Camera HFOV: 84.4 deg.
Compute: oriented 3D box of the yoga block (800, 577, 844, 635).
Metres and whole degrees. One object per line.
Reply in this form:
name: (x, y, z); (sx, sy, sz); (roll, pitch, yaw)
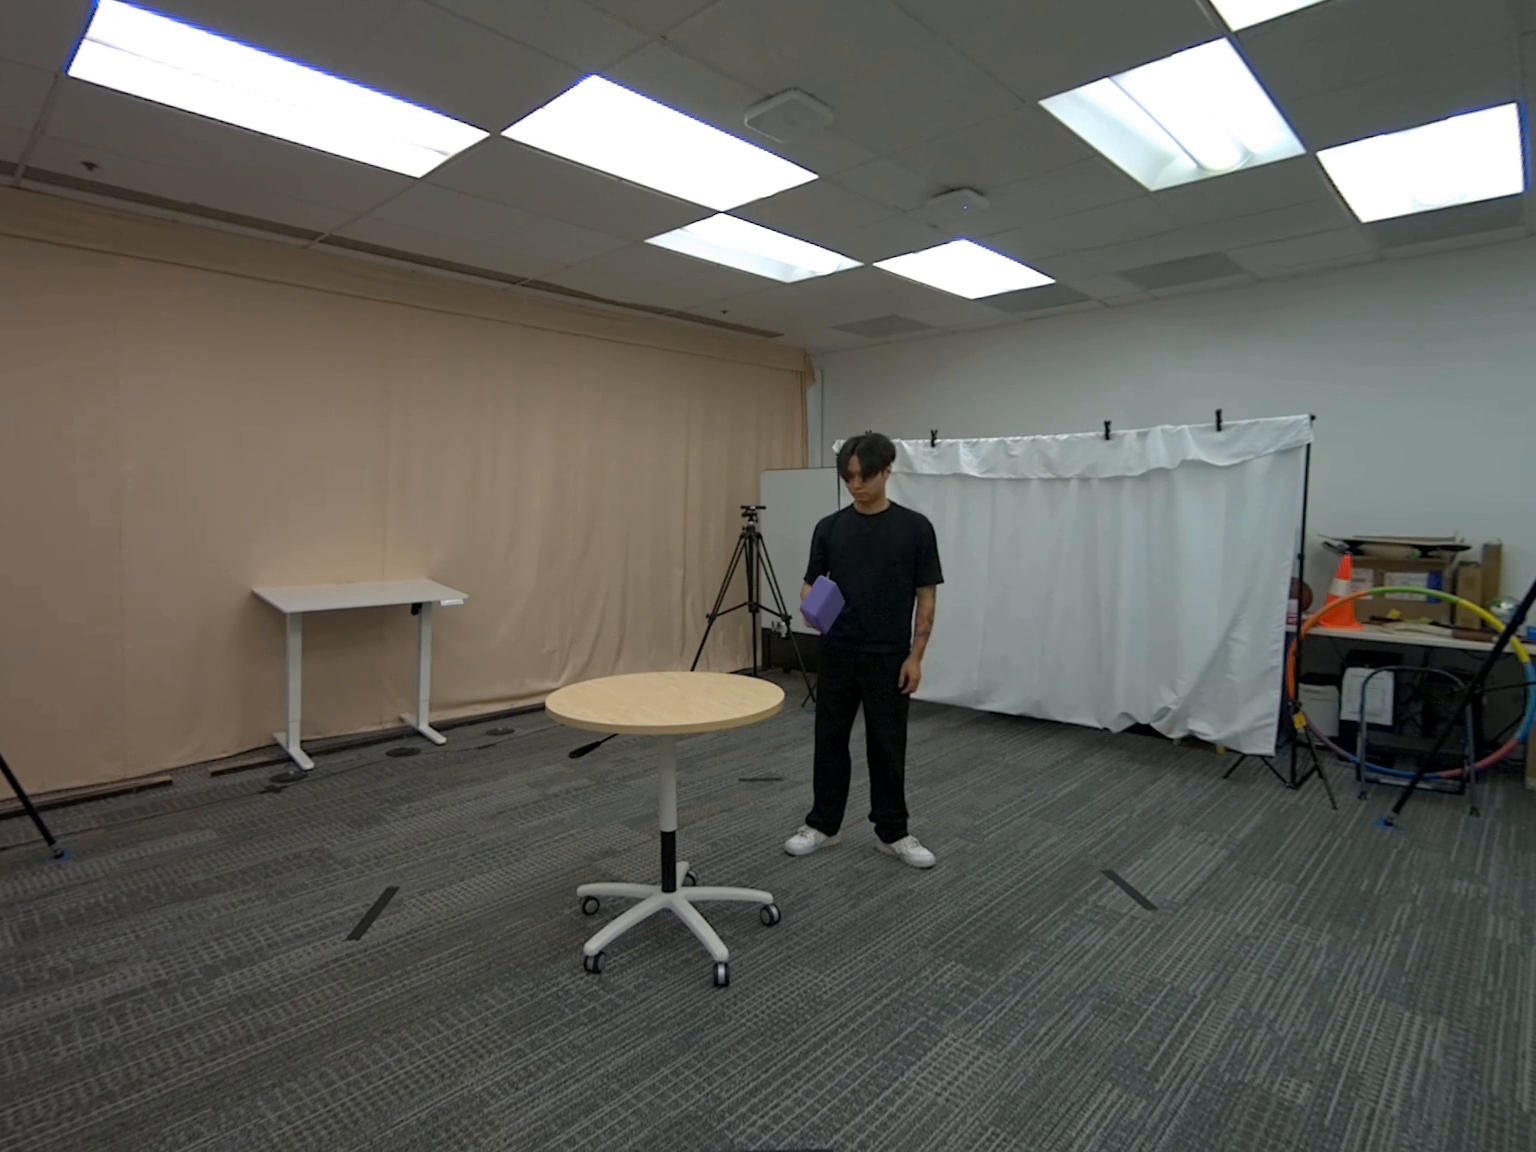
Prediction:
yoga block: (0.191, 0.108, 3.050); (0.079, 0.149, 0.223); (29, -9, 24)
